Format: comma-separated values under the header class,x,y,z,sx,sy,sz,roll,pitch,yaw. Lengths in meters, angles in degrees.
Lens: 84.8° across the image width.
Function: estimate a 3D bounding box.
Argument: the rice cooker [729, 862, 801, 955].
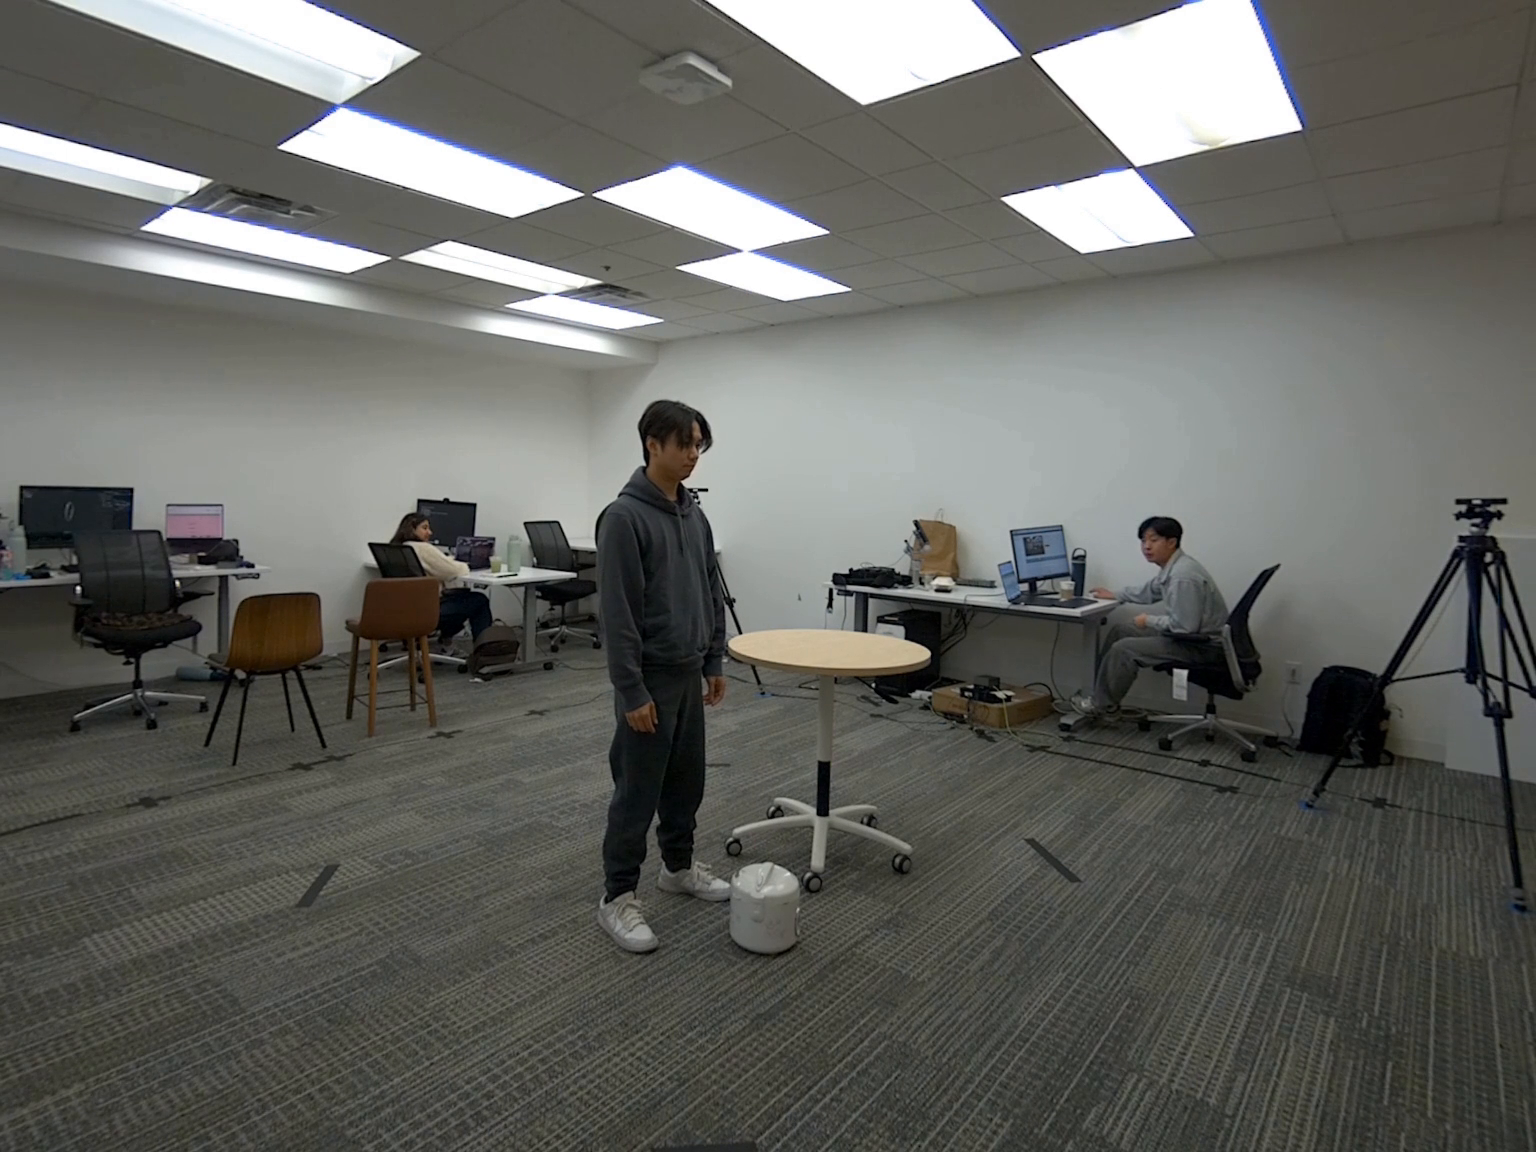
class,x,y,z,sx,sy,sz,roll,pitch,yaw
rice cooker,-0.014,1.010,2.617,0.221,0.232,0.217,2,4,16
